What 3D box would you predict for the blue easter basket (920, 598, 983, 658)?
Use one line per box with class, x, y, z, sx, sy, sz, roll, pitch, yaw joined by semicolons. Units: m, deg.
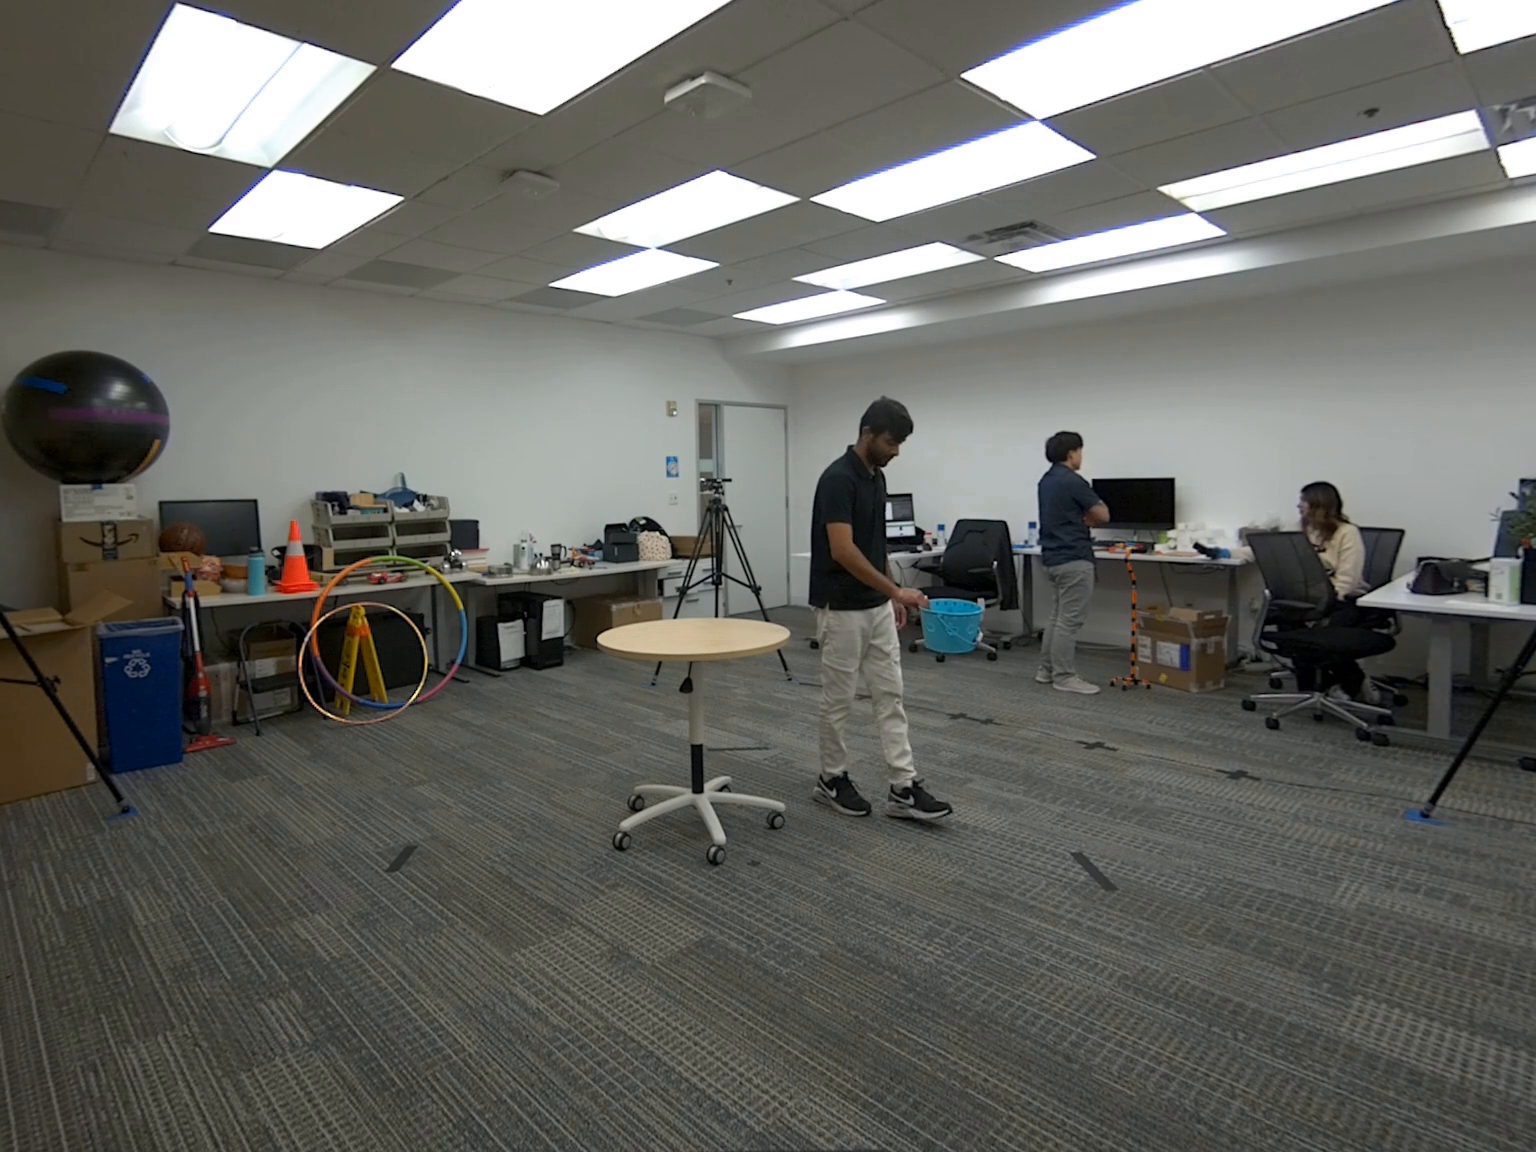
blue easter basket;0.700;0.195;3.194;0.243;0.154;0.246;-1;10;-2
